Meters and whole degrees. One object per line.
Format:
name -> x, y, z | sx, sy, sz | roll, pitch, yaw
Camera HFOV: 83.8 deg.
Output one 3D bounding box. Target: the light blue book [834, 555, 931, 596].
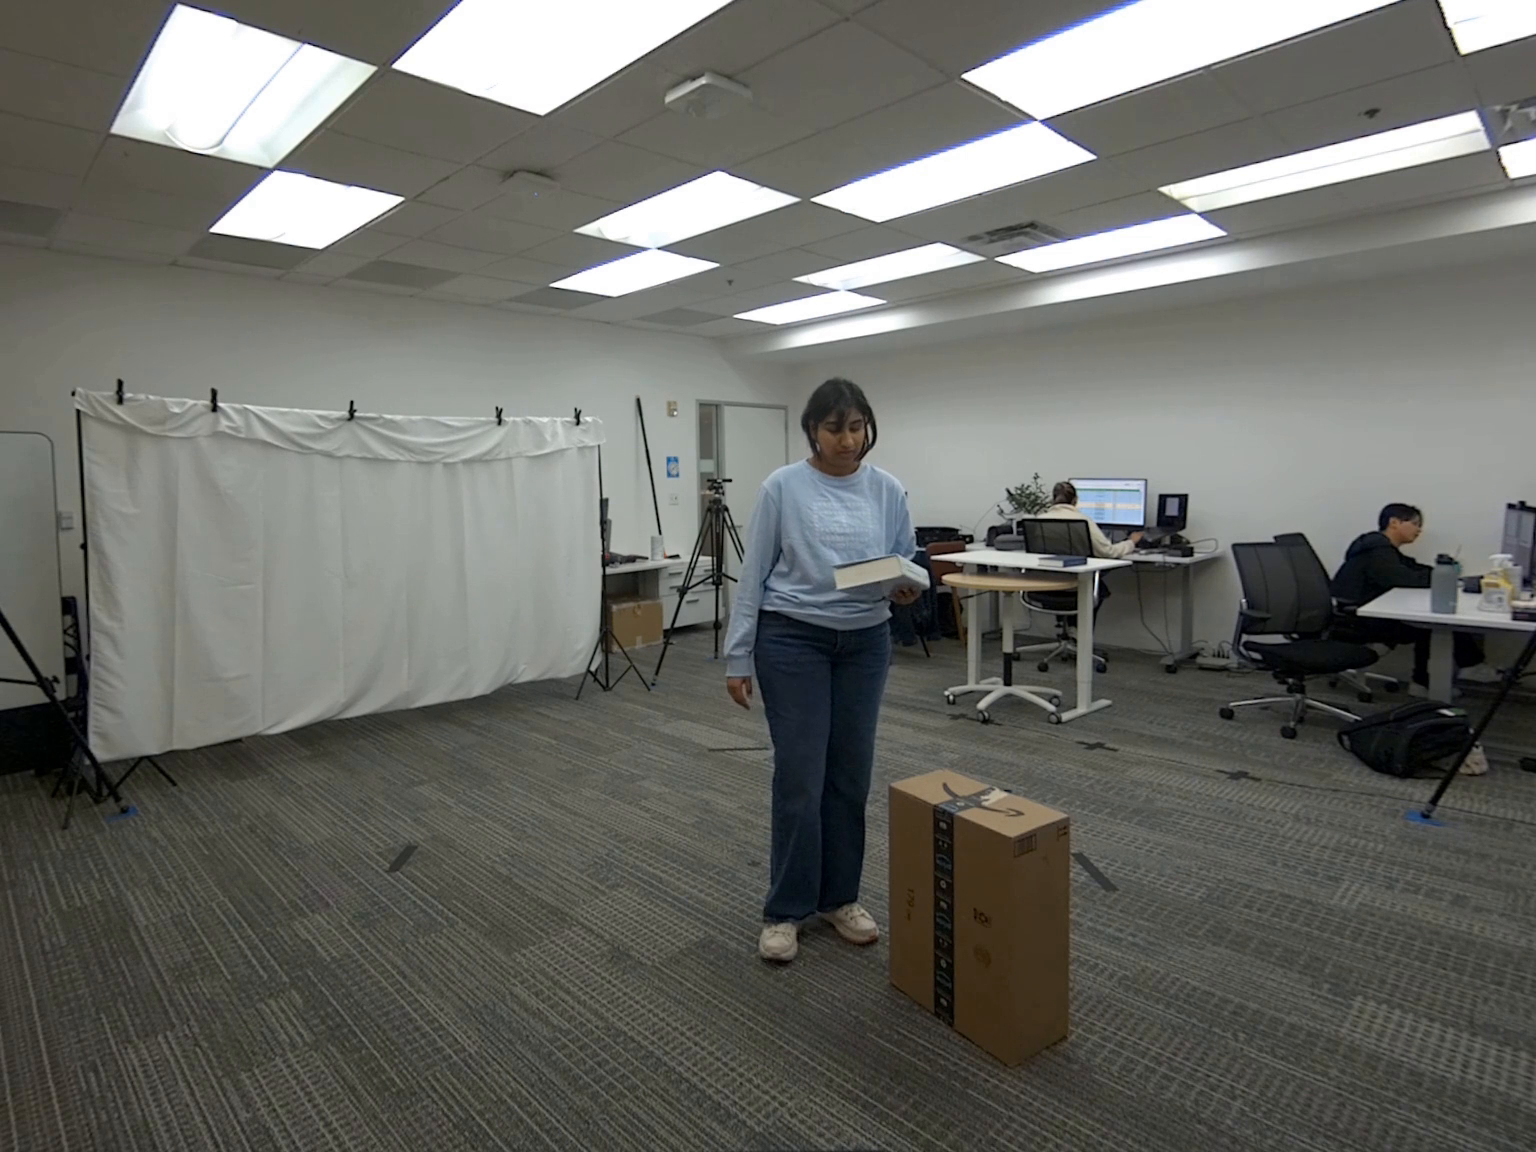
light blue book -> 0.319, 0.010, 2.301 | 0.194, 0.060, 0.253 | -12, -12, 24
